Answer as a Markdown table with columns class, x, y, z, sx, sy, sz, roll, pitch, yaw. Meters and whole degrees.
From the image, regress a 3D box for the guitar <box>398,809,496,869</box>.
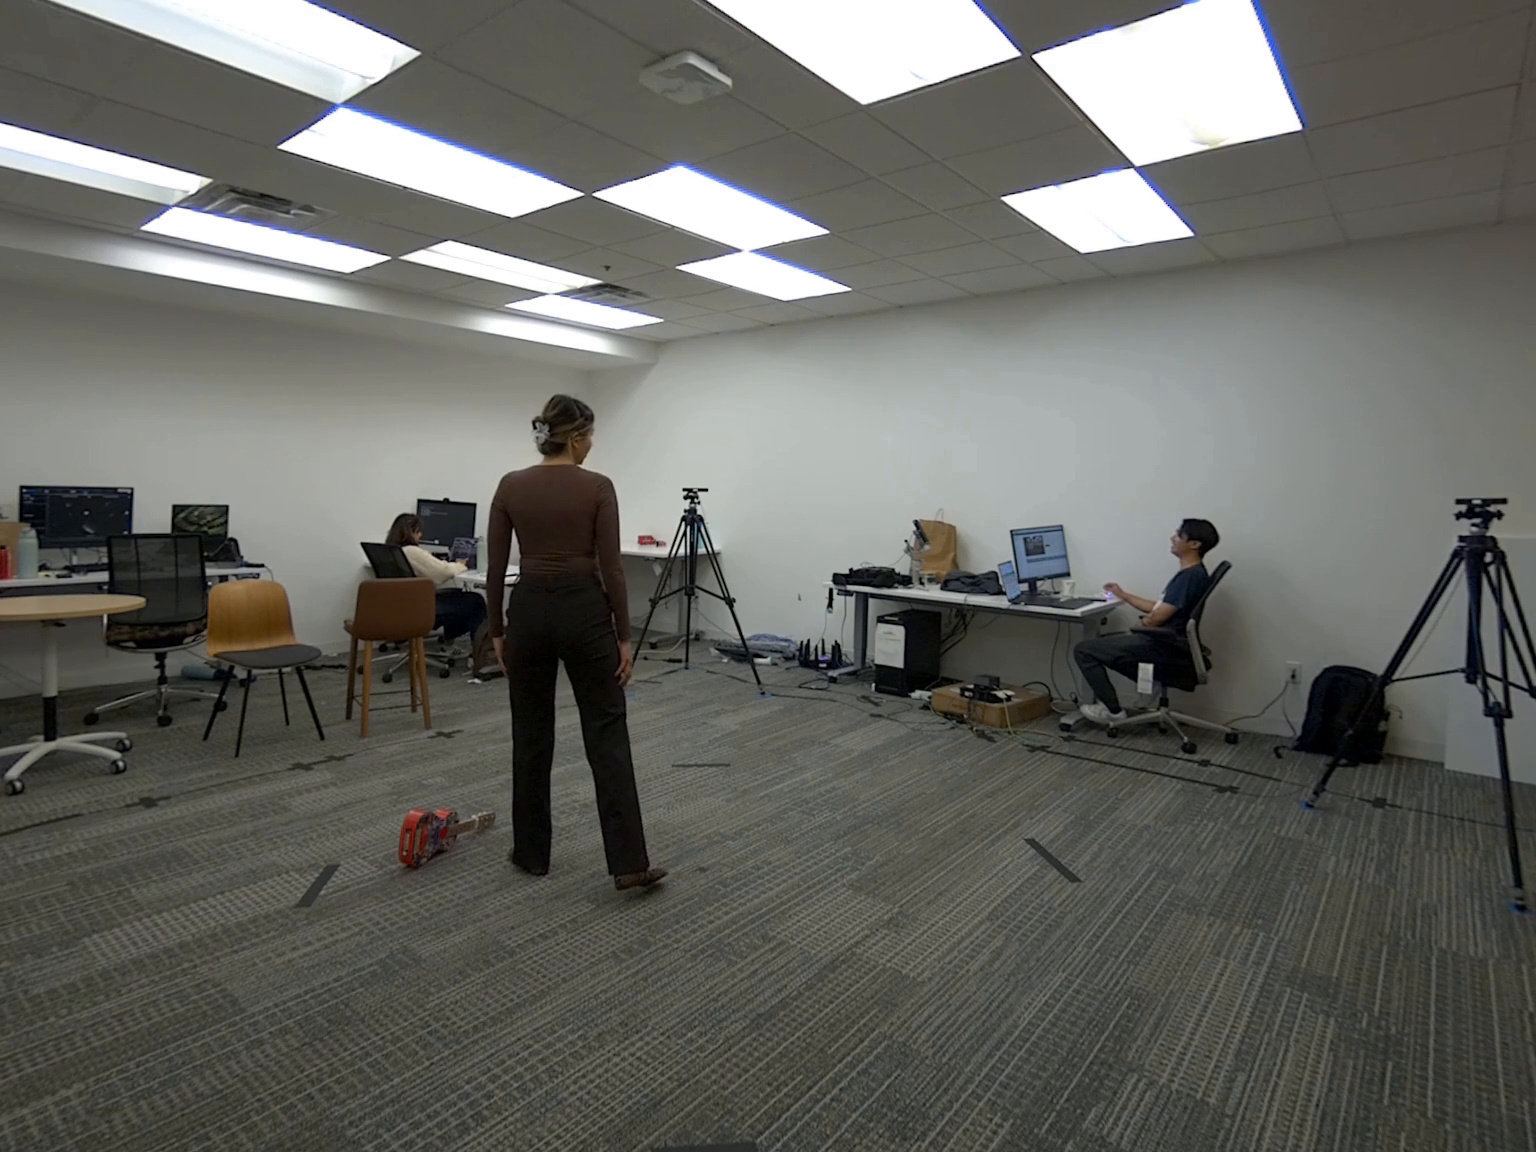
| class | x | y | z | sx | sy | sz | roll | pitch | yaw |
| --- | --- | --- | --- | --- | --- | --- | --- | --- | --- |
| guitar | -1.241 | 1.001 | 3.269 | 0.072 | 0.195 | 0.482 | 3 | -13 | 19 |
